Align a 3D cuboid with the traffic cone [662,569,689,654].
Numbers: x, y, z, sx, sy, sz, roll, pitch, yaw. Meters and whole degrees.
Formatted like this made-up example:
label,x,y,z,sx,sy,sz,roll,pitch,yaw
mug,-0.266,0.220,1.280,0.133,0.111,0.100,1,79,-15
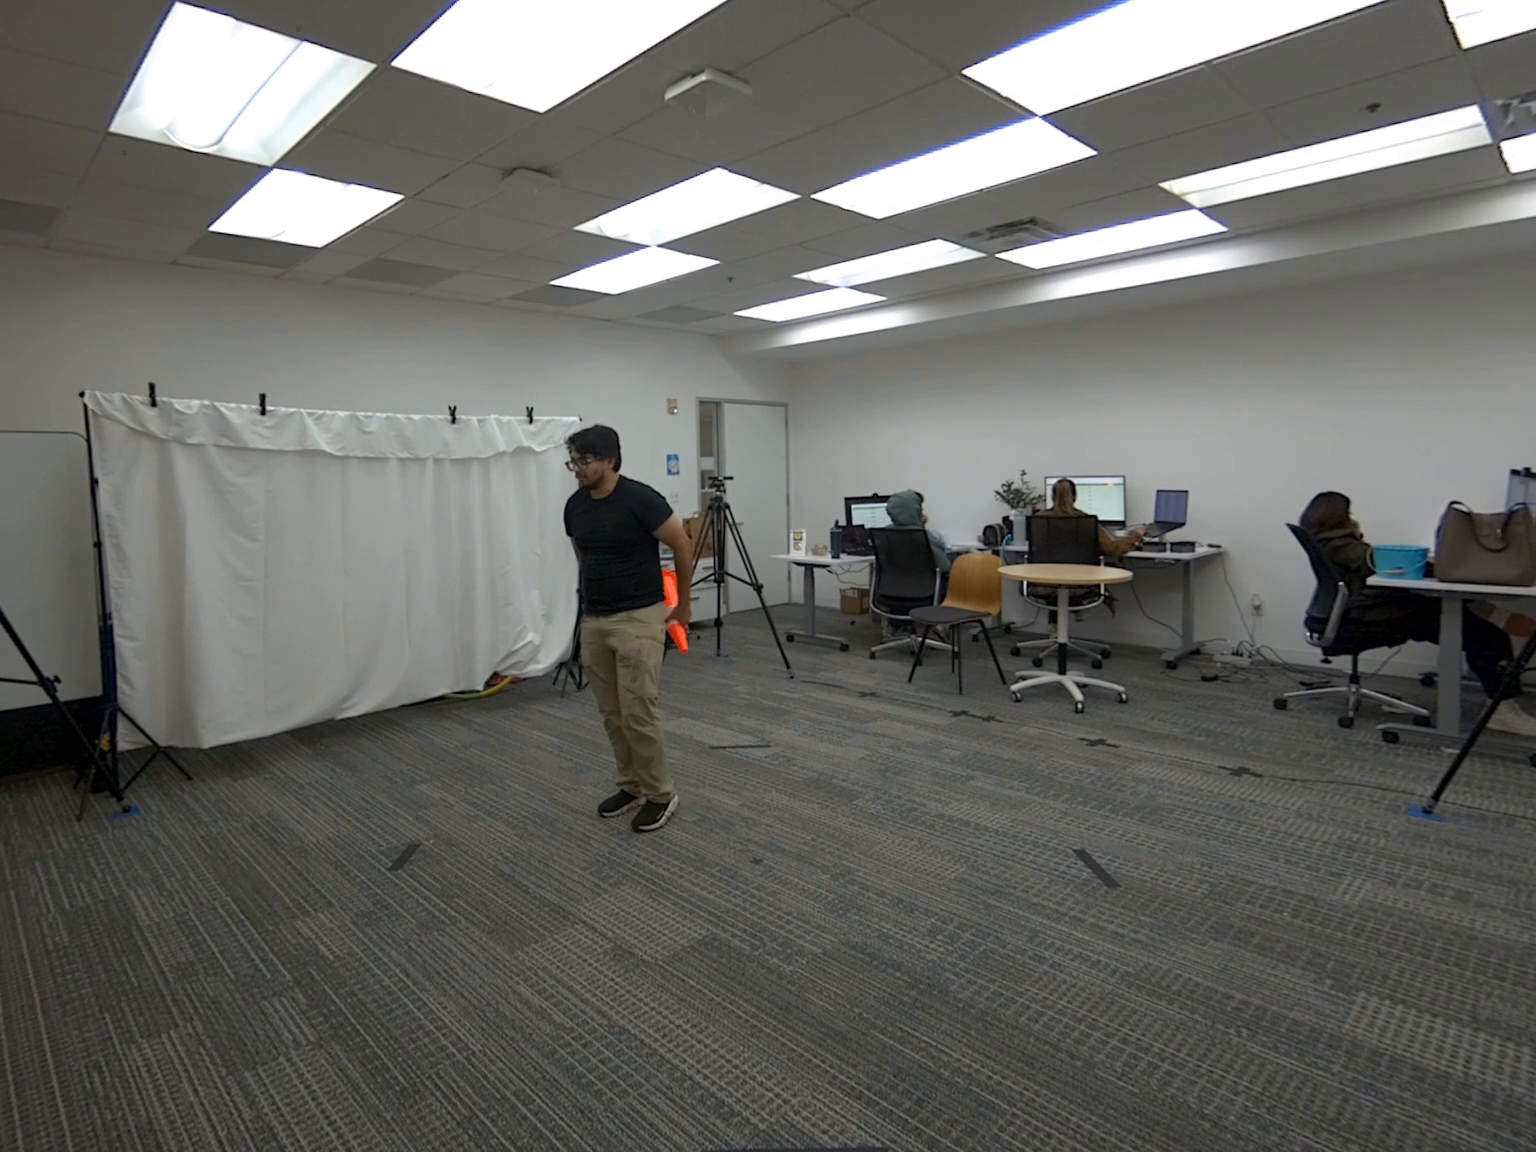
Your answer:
label,x,y,z,sx,sy,sz,roll,pitch,yaw
traffic cone,-0.427,0.188,3.706,0.197,0.203,0.398,20,32,-42
